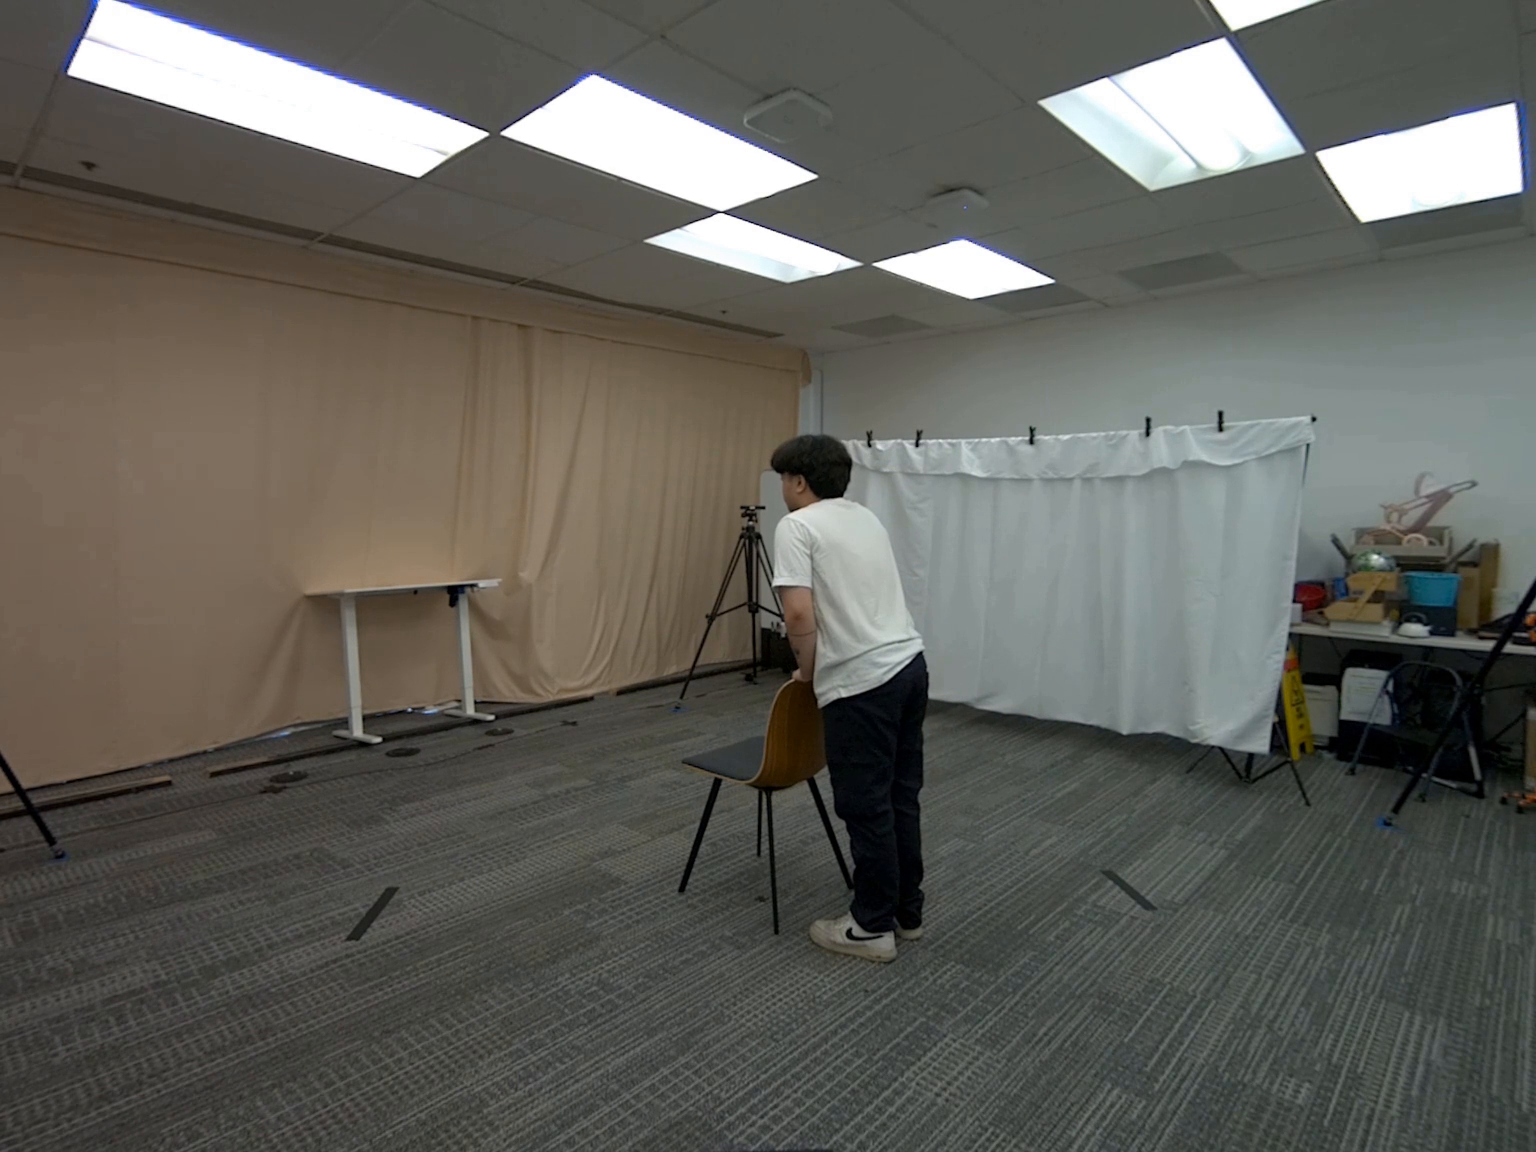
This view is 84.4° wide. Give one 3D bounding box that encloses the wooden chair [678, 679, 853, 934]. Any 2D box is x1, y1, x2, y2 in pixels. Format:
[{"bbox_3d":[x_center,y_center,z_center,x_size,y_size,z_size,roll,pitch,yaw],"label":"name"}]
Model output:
[{"bbox_3d":[-0.010,0.717,3.025,0.541,0.874,0.463,9,9,40],"label":"wooden chair"}]
